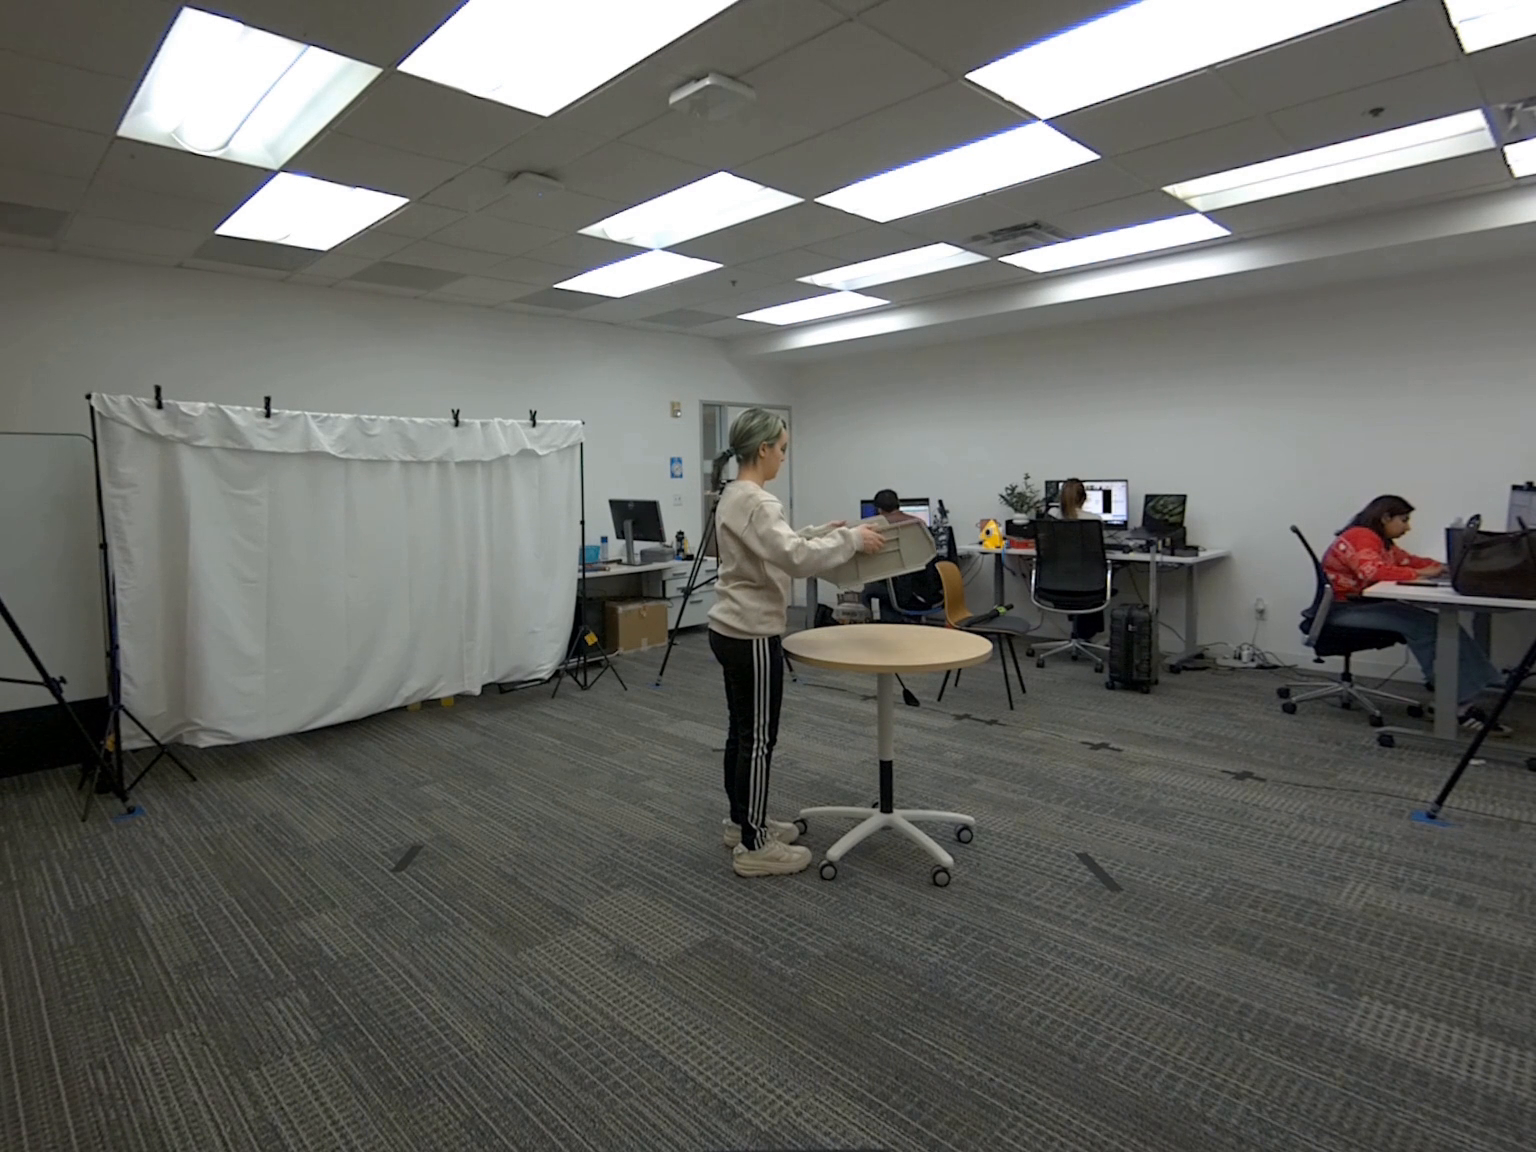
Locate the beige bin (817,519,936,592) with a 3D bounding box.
[{"bbox_3d":[0.361,-0.091,3.151,0.375,0.188,0.427,-14,7,-7],"label":"beige bin"}]
